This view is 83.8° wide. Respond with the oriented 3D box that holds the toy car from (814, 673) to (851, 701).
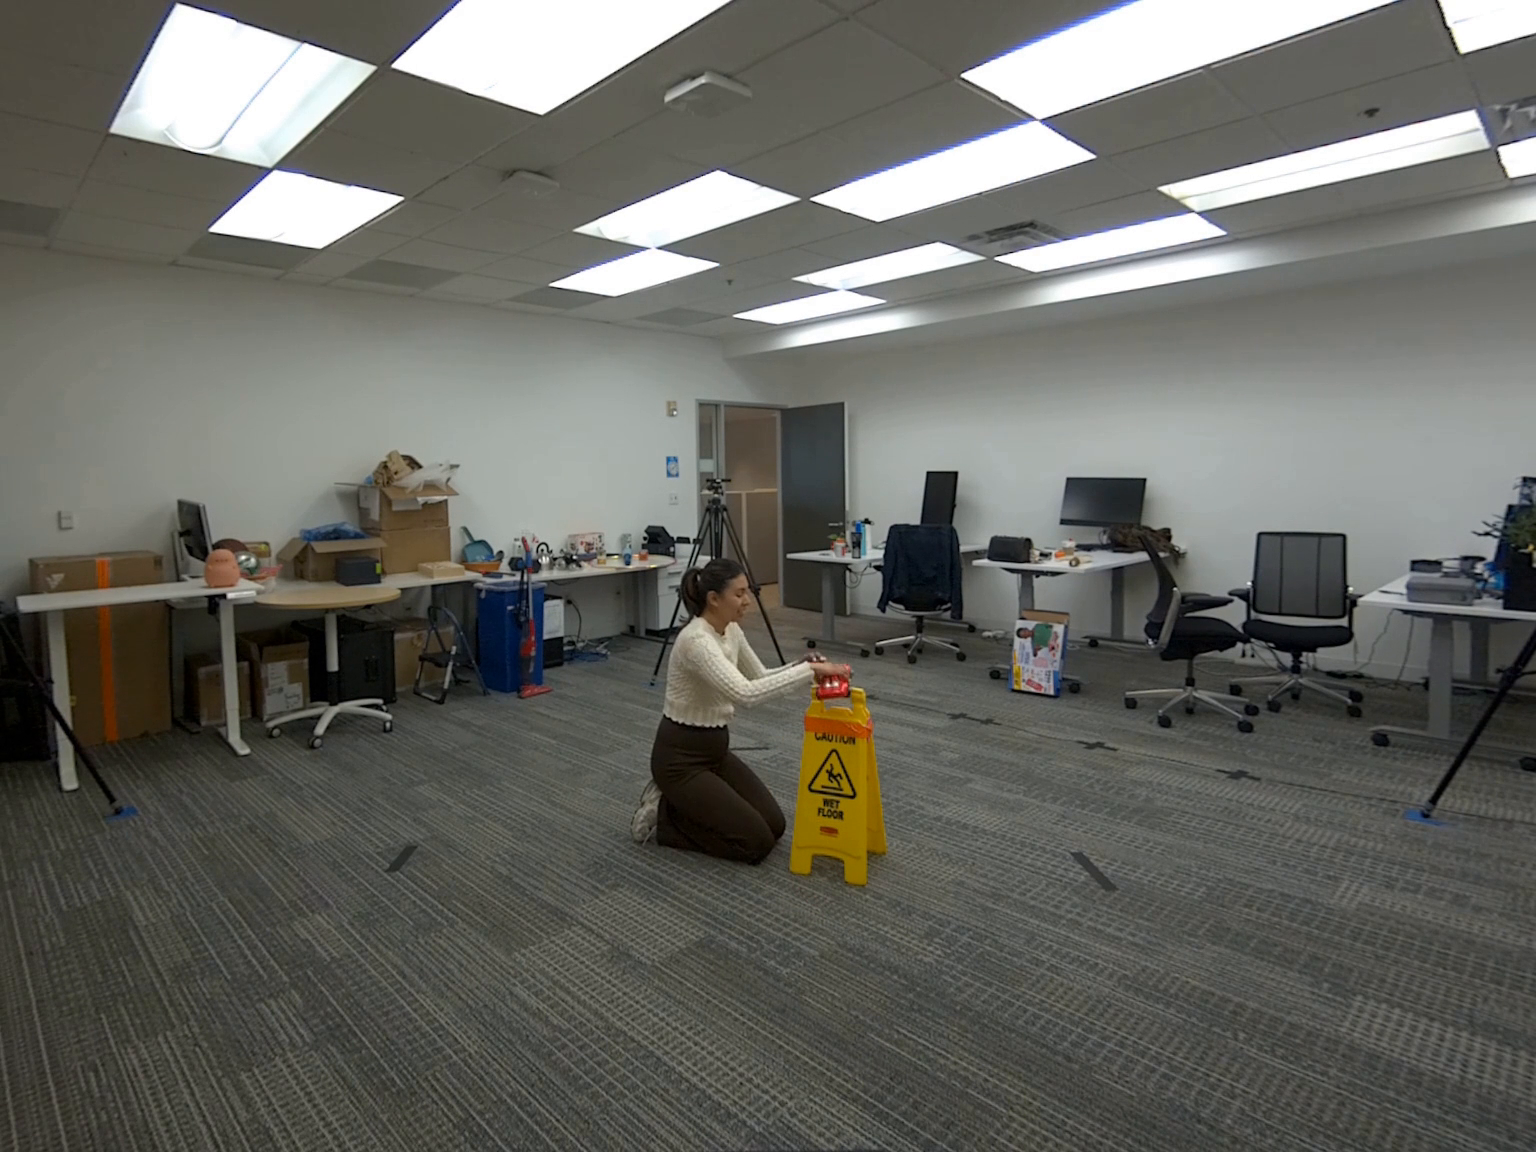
[{"bbox_3d":[0.230,0.382,3.031,0.132,0.083,0.253,-8,7,13],"label":"toy car"}]
